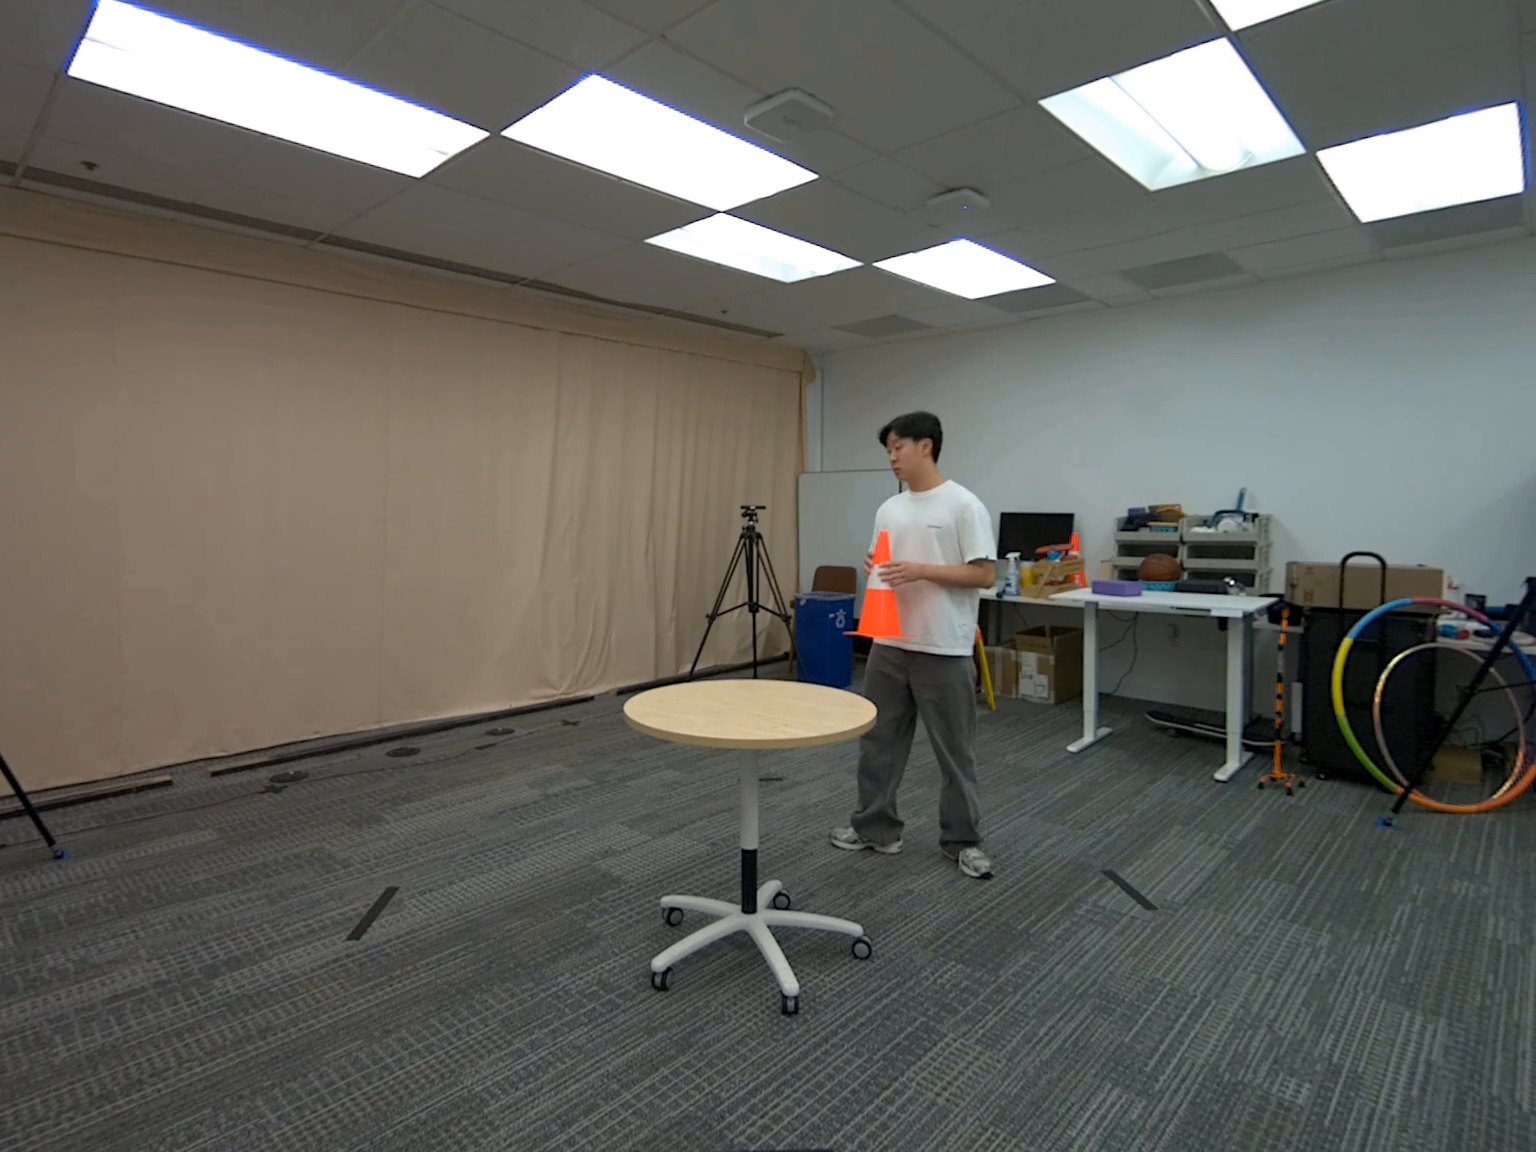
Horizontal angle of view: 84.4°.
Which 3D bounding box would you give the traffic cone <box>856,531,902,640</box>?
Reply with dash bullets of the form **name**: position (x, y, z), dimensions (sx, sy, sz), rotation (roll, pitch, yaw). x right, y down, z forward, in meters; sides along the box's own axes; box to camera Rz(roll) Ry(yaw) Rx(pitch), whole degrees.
- **traffic cone**: position (0.427, 0.032, 3.108), dimensions (0.211, 0.384, 0.197), rotation (0, -4, 37)
